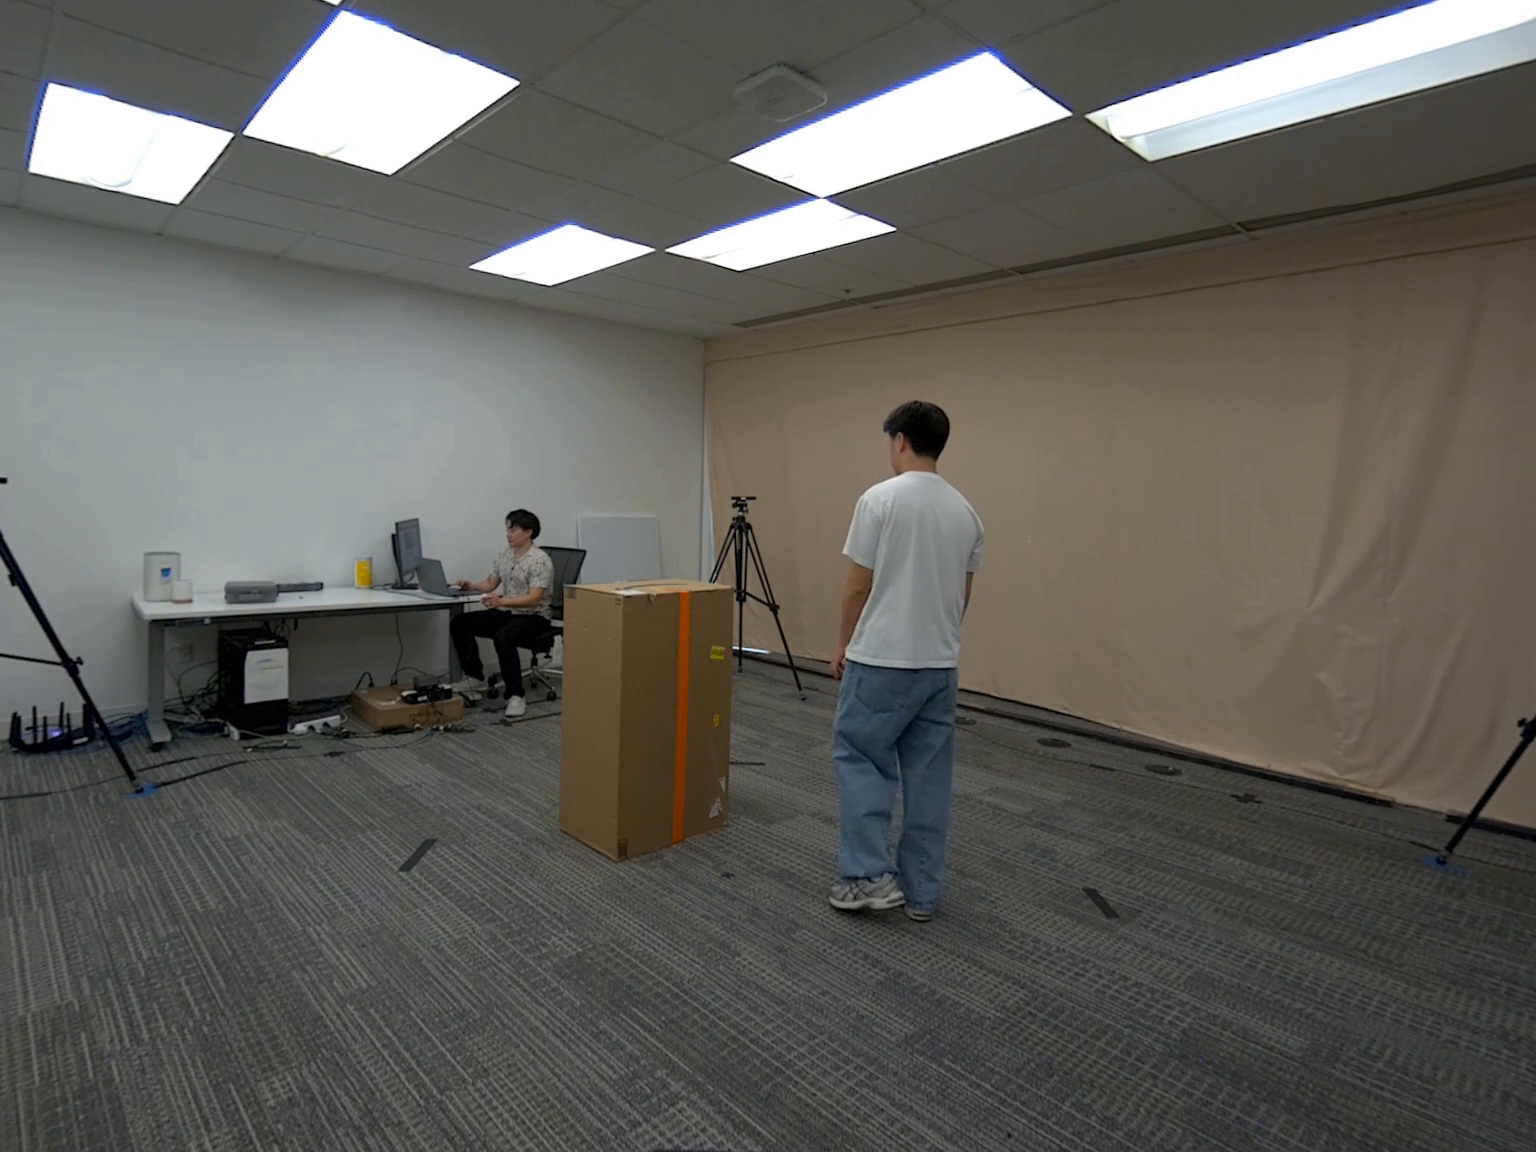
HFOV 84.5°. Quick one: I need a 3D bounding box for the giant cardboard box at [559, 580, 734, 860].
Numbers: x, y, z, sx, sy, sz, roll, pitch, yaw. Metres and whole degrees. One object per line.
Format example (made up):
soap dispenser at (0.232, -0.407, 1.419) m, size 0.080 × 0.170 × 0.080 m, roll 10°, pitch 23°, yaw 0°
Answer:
giant cardboard box at (-0.510, 0.554, 3.514) m, size 0.564 × 1.023 × 0.437 m, roll -2°, pitch 5°, yaw -44°
